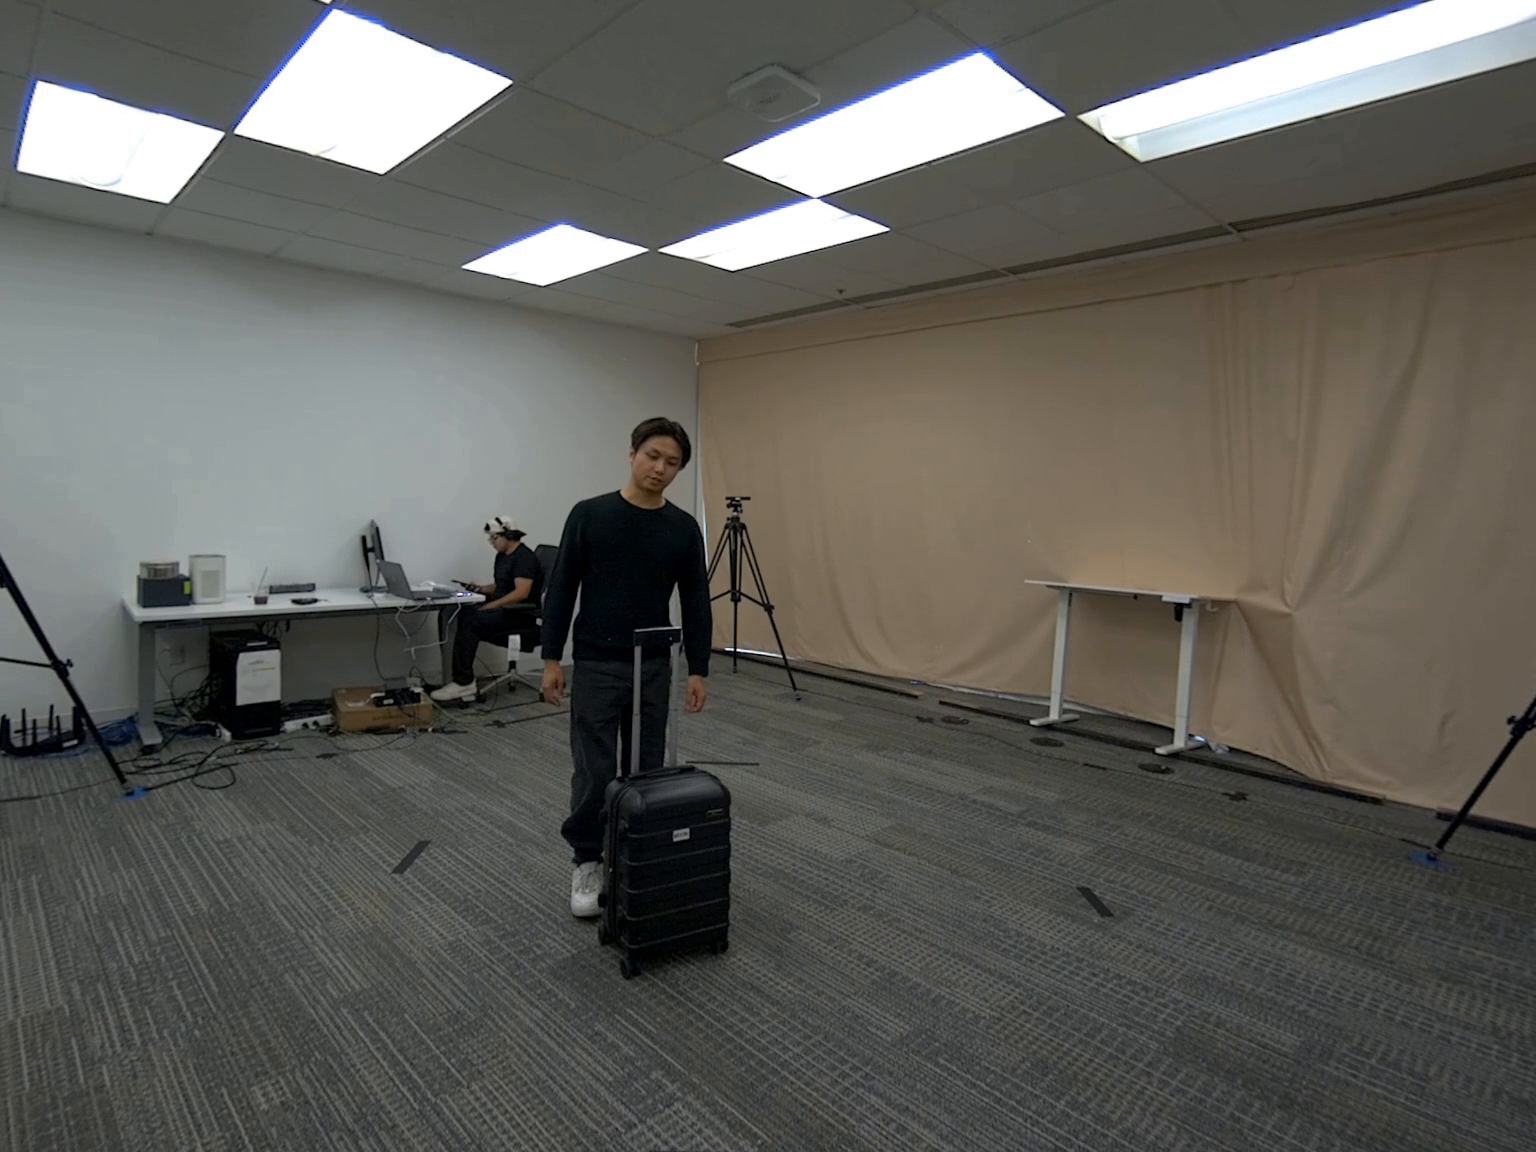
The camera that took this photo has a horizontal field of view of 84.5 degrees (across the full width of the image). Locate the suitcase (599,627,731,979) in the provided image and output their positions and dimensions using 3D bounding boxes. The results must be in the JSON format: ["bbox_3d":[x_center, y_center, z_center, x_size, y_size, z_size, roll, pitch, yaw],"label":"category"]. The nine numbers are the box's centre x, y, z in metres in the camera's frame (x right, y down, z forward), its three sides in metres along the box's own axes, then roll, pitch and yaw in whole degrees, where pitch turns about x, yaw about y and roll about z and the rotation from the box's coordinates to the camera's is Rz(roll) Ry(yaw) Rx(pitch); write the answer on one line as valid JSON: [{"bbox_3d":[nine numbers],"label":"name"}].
[{"bbox_3d":[-0.298,0.680,2.544,0.377,0.974,0.263,0,6,-27],"label":"suitcase"}]
